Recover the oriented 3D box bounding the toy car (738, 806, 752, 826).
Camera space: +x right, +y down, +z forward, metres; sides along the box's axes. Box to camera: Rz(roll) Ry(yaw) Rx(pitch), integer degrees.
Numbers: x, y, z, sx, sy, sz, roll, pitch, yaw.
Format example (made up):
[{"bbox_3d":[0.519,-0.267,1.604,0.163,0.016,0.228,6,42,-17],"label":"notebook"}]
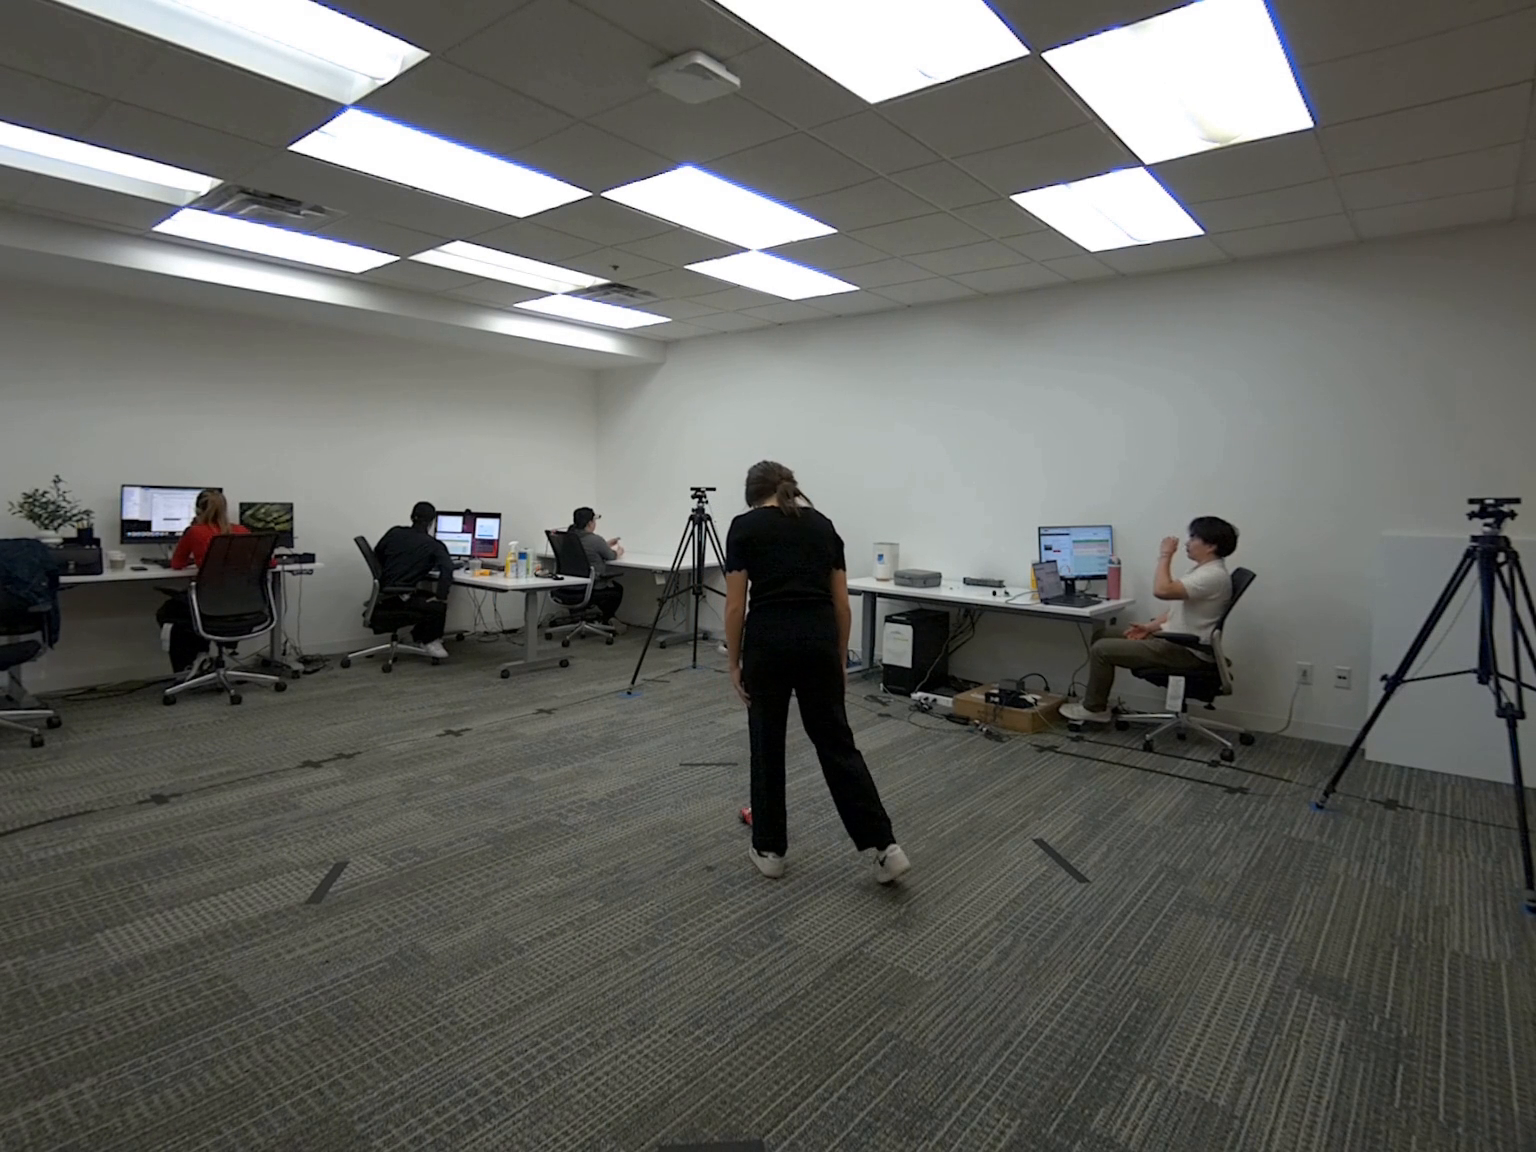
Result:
[{"bbox_3d":[-0.026,0.995,3.478,0.127,0.084,0.259,0,-6,-25],"label":"toy car"}]
